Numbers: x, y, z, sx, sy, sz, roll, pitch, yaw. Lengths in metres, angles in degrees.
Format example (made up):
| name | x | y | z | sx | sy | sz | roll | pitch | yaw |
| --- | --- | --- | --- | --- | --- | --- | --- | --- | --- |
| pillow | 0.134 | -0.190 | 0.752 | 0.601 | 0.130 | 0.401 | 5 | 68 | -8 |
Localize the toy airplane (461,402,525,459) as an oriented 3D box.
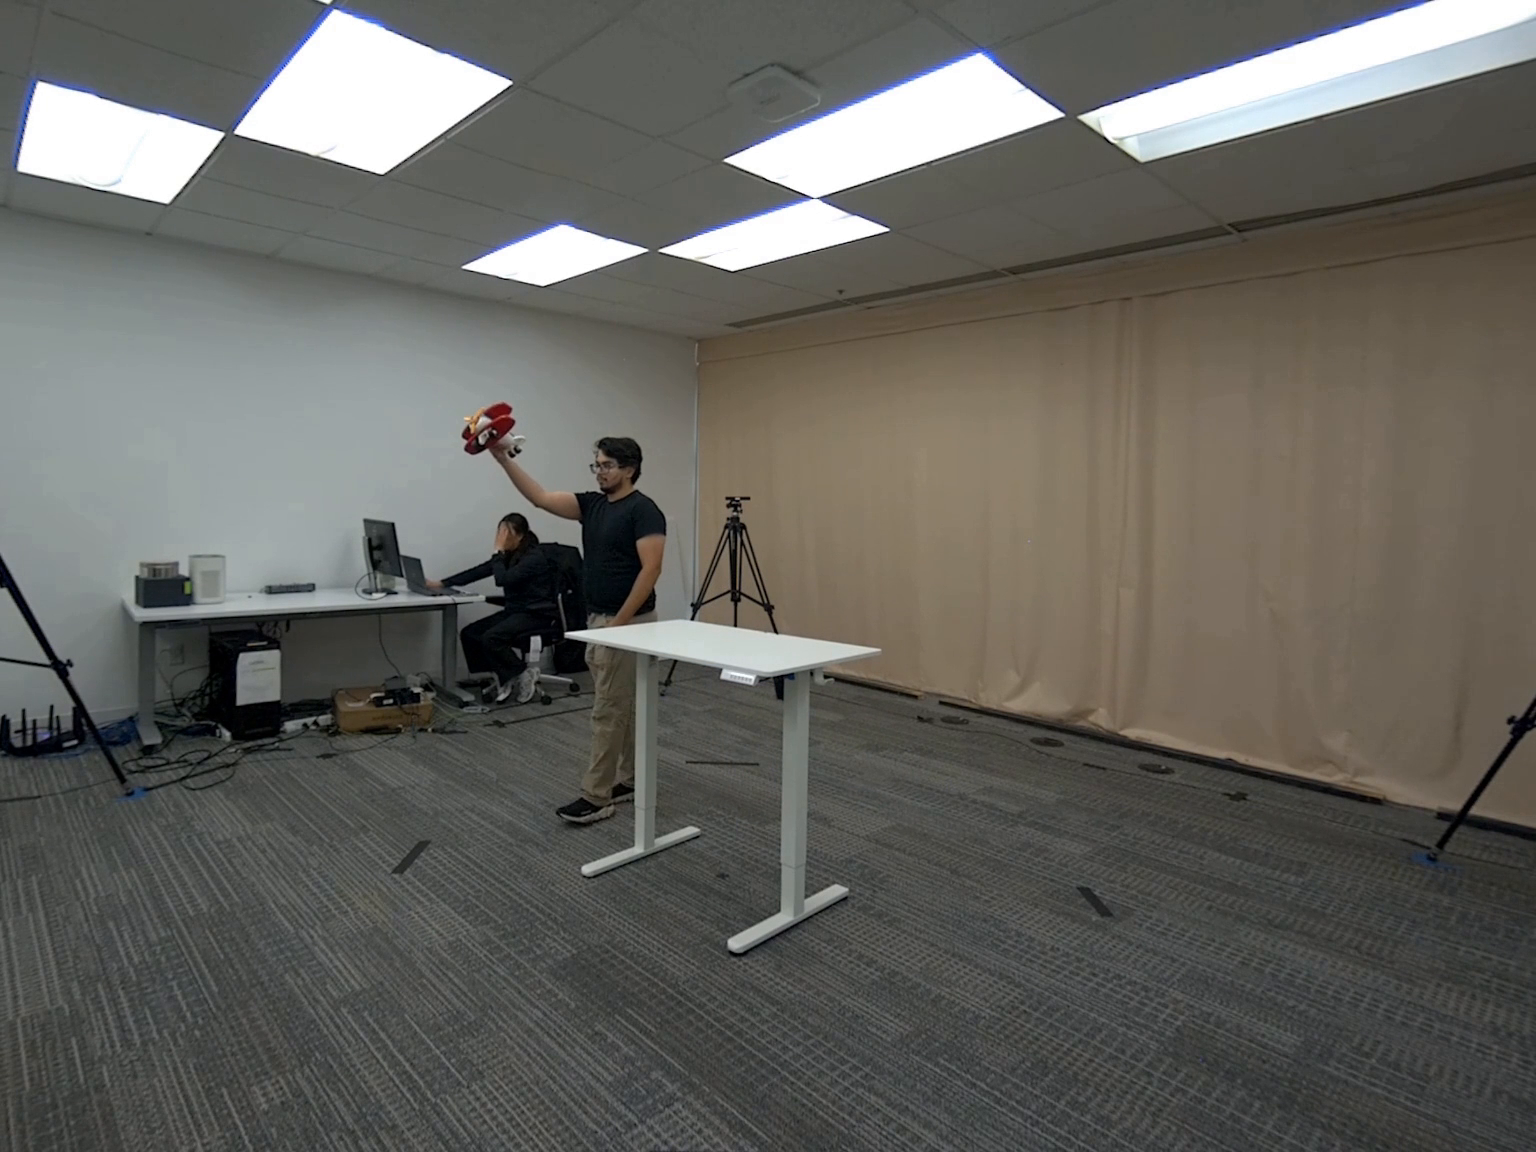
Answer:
| name | x | y | z | sx | sy | sz | roll | pitch | yaw |
| --- | --- | --- | --- | --- | --- | --- | --- | --- | --- |
| toy airplane | -1.170 | -0.588 | 3.537 | 0.250 | 0.159 | 0.256 | -23 | -18 | -10 |
